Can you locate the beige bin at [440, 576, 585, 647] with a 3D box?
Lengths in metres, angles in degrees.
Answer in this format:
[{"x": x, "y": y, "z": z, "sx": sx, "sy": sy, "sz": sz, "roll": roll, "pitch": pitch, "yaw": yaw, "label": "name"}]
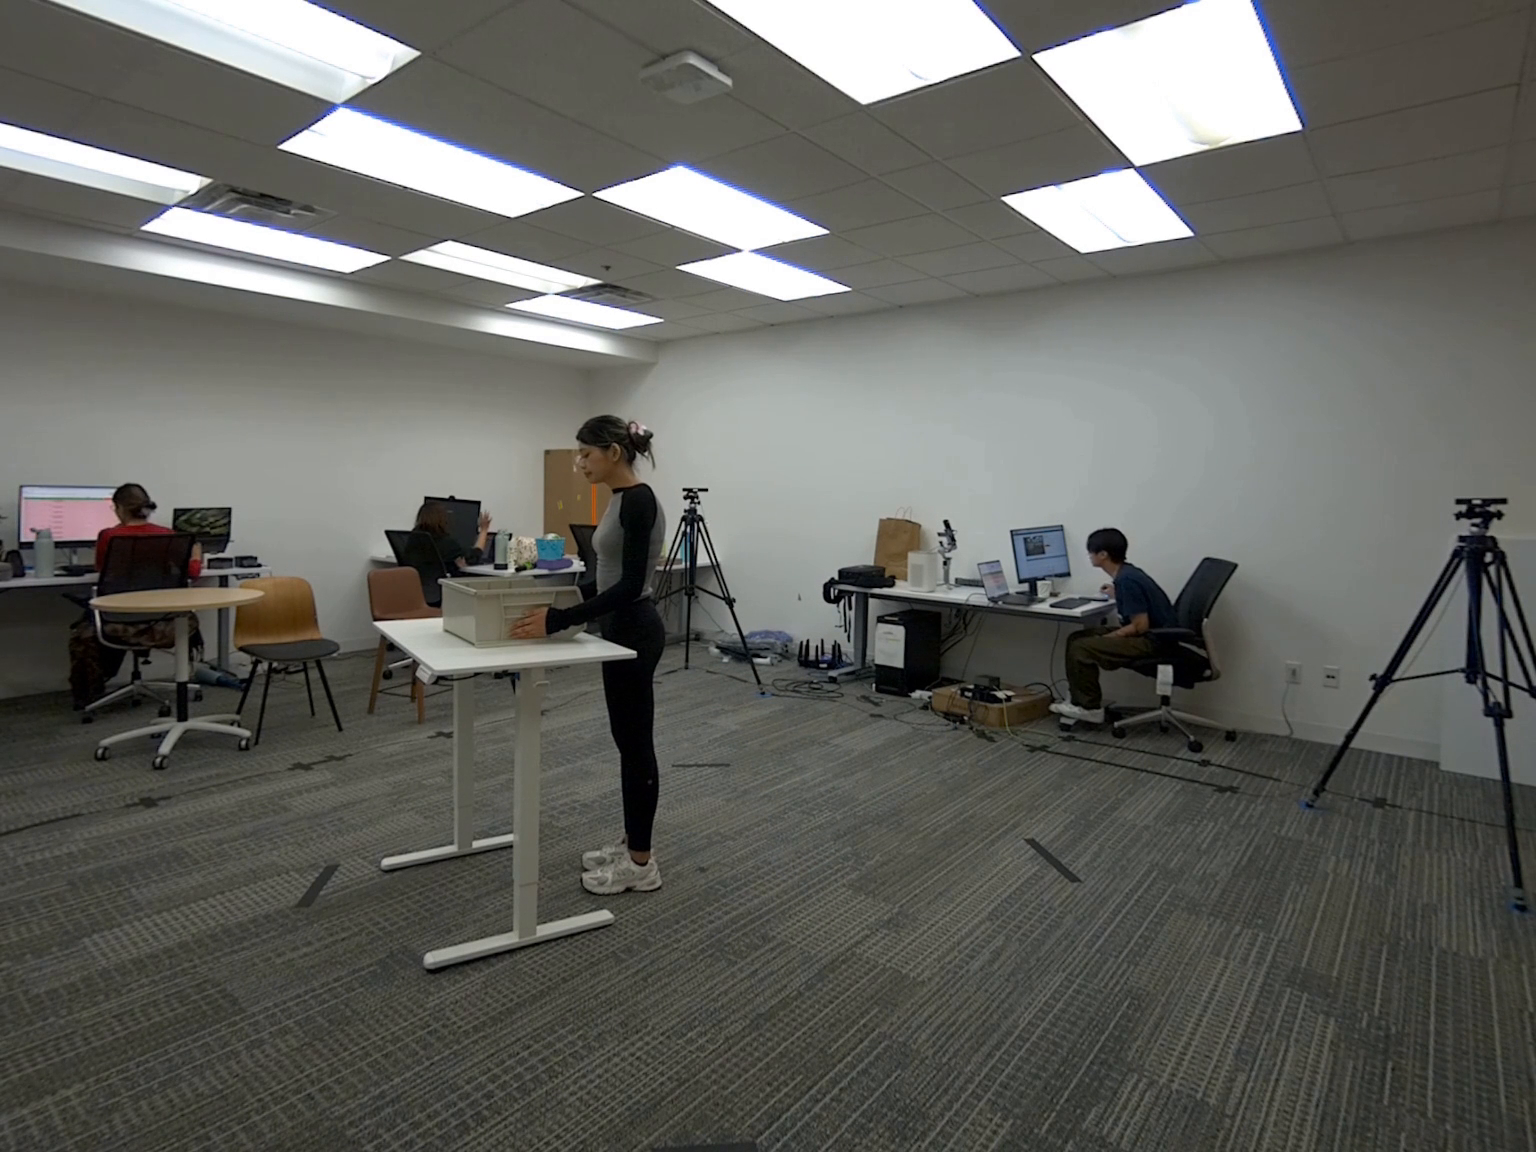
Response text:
[{"x": -0.885, "y": 0.110, "z": 2.879, "sx": 0.367, "sy": 0.188, "sz": 0.436, "roll": -4, "pitch": 7, "yaw": -35, "label": "beige bin"}]
